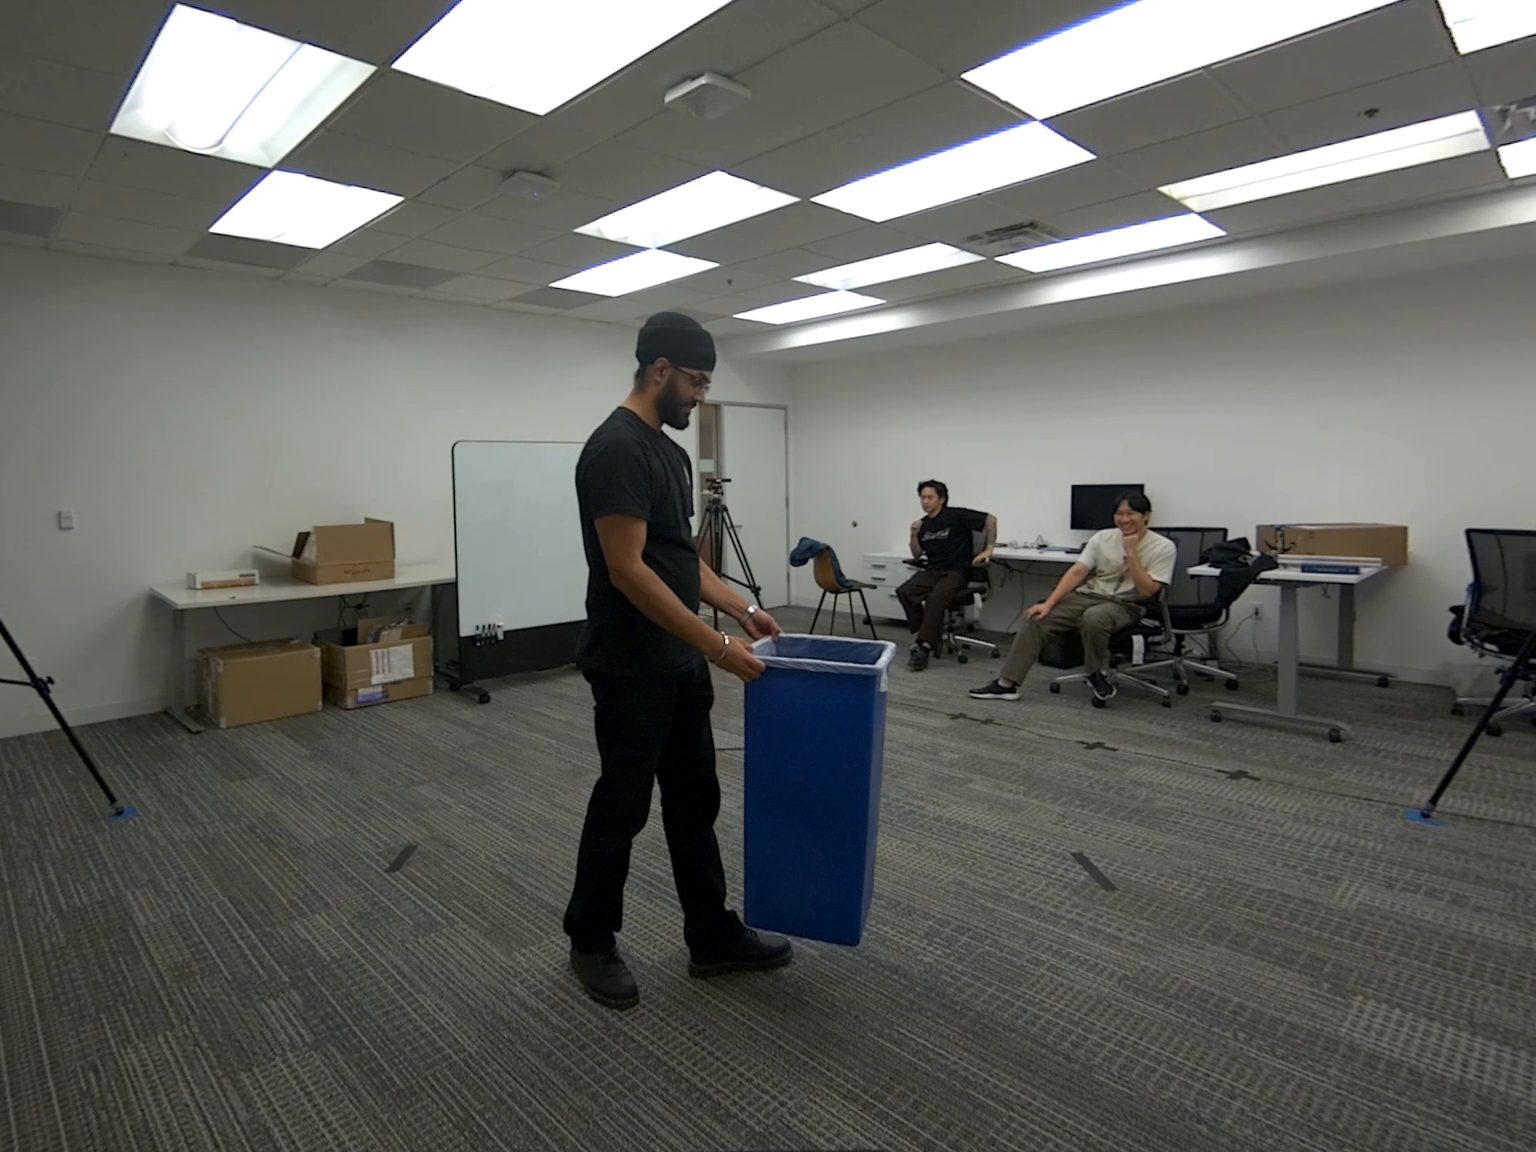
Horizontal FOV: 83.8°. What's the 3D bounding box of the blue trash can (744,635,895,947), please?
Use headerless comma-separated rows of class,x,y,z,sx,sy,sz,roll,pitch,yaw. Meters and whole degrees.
blue trash can,0.126,0.545,2.284,0.380,0.711,0.373,3,4,15
